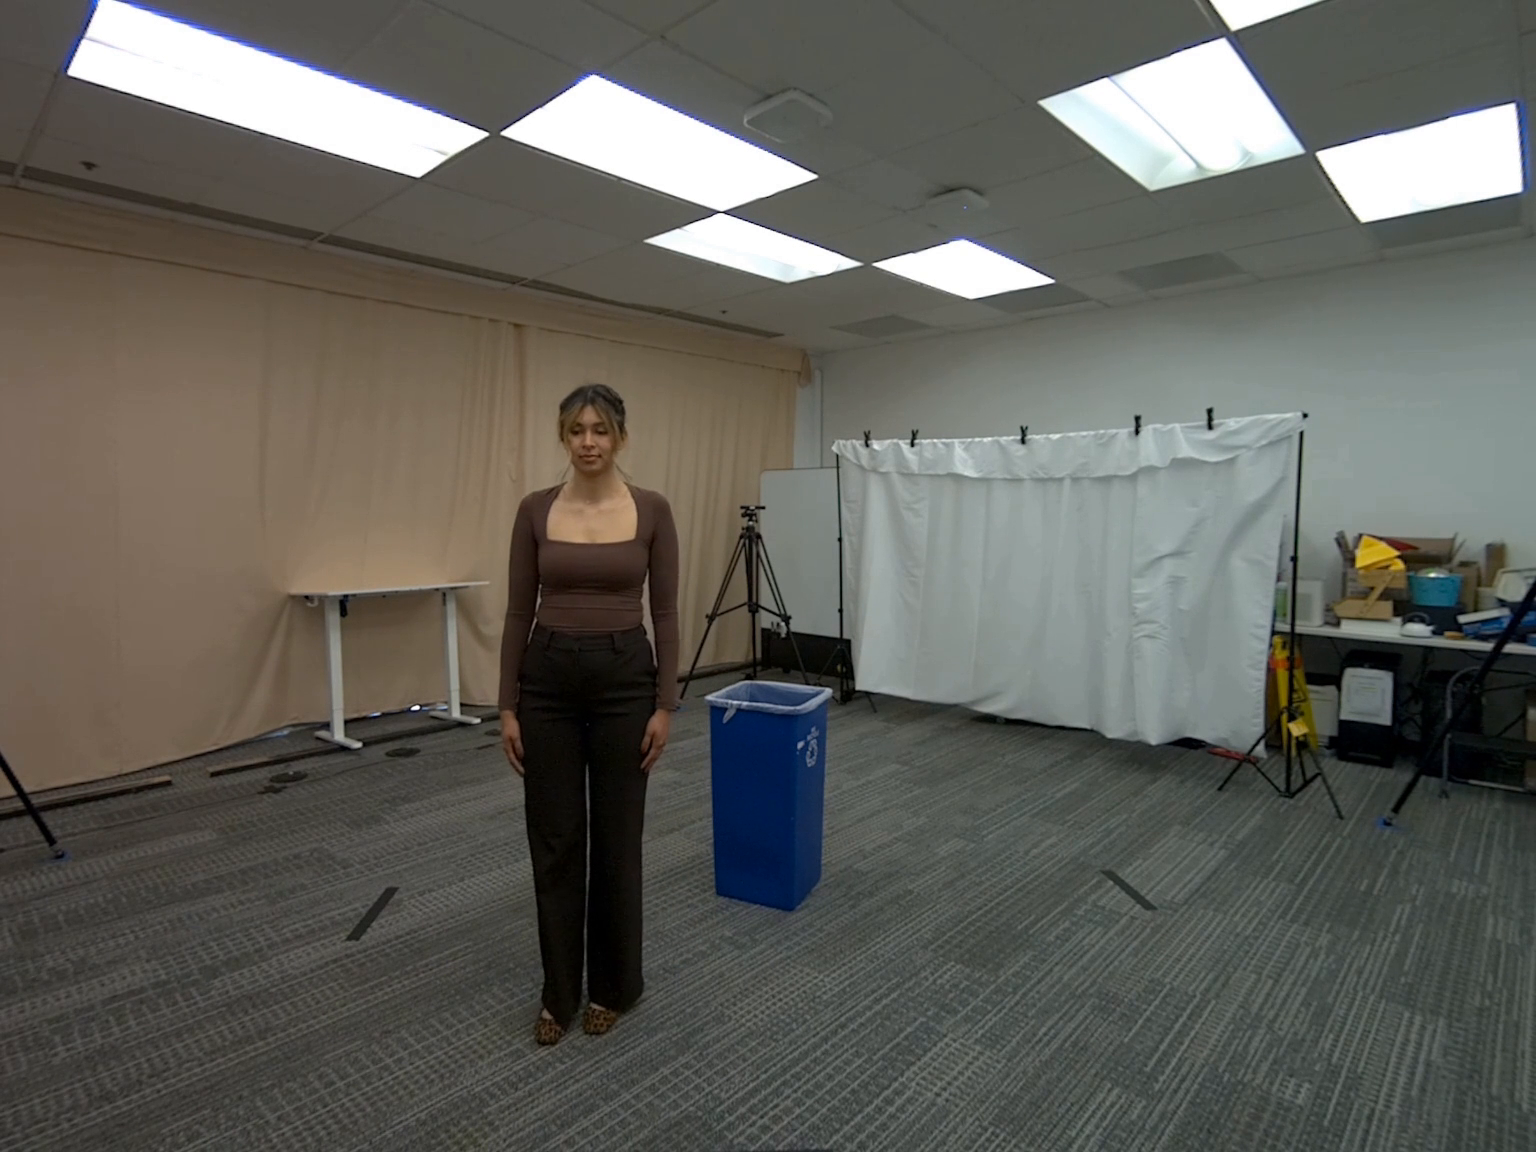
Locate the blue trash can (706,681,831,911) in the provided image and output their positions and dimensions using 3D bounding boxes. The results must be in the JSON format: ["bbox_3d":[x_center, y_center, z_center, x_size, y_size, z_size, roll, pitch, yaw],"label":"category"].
[{"bbox_3d":[0.004,0.778,3.062,0.384,0.712,0.369,3,4,24],"label":"blue trash can"}]
